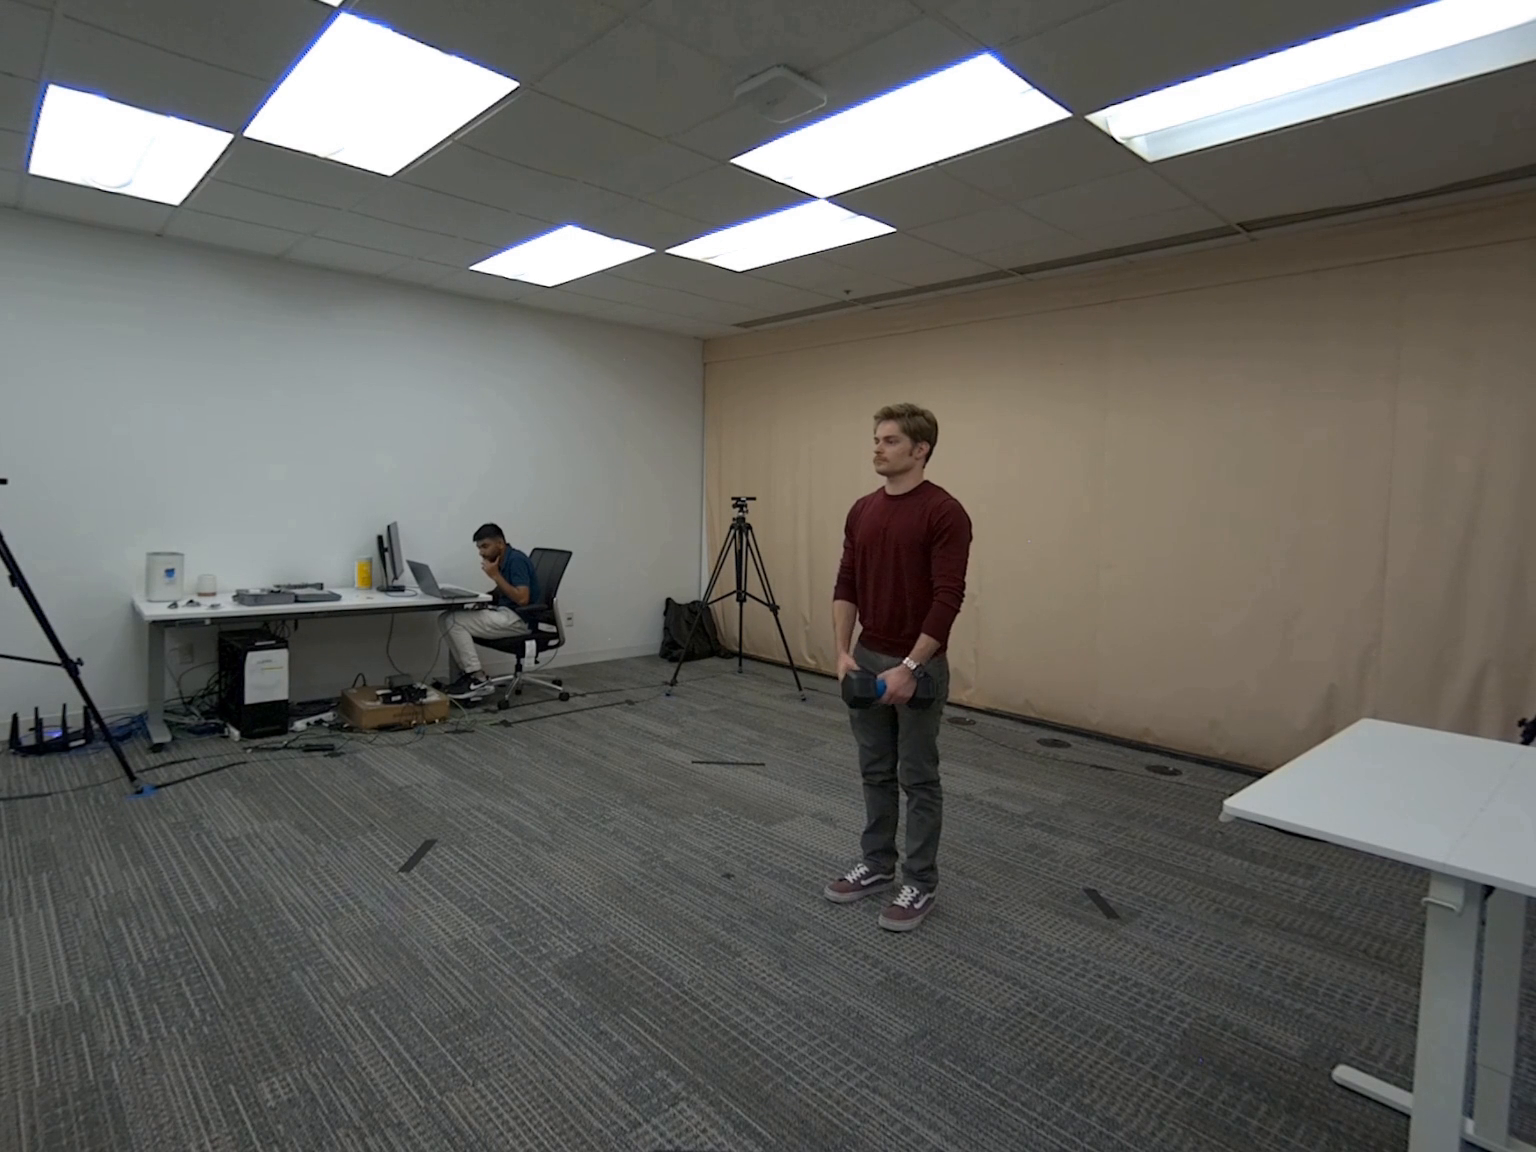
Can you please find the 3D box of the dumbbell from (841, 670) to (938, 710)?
[{"bbox_3d":[0.382,0.358,2.654,0.290,0.124,0.109,4,-16,-16],"label":"dumbbell"}]
